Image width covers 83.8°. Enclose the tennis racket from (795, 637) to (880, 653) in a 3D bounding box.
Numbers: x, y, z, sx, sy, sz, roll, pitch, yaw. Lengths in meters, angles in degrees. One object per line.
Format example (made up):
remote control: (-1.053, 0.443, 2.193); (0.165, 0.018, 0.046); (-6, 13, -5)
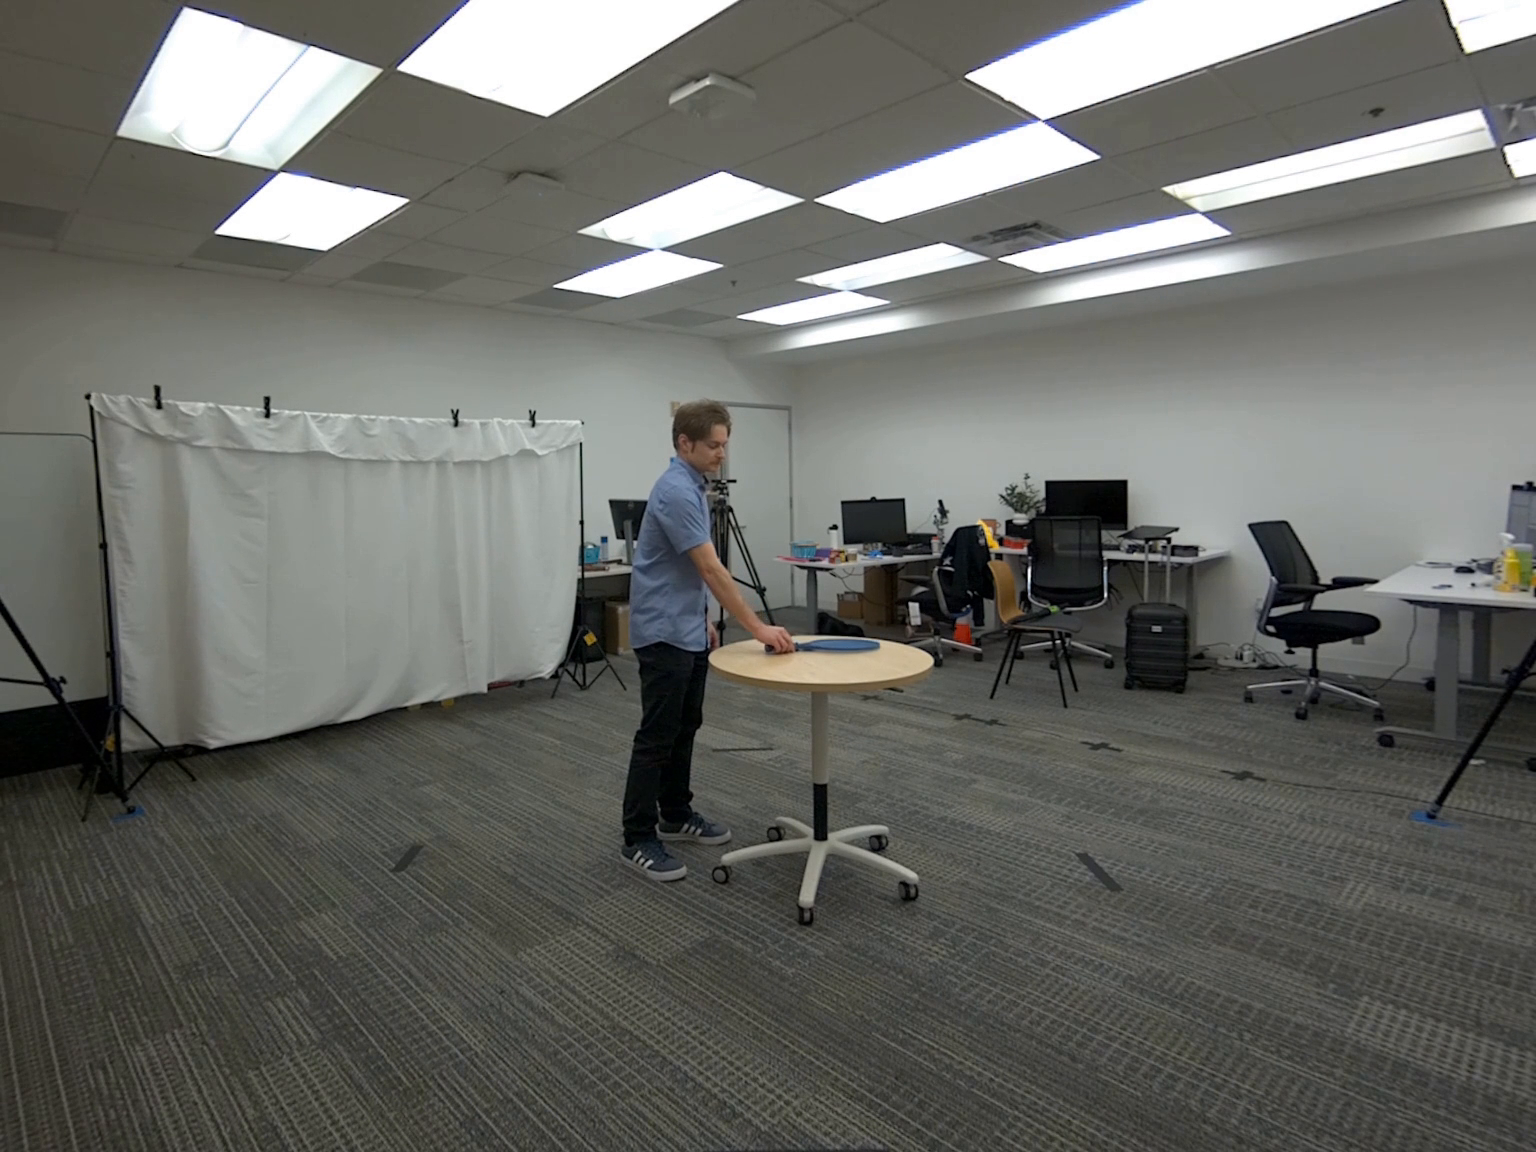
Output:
tennis racket: (0.197, 0.251, 3.072); (0.425, 0.031, 0.218); (-1, 6, -19)
